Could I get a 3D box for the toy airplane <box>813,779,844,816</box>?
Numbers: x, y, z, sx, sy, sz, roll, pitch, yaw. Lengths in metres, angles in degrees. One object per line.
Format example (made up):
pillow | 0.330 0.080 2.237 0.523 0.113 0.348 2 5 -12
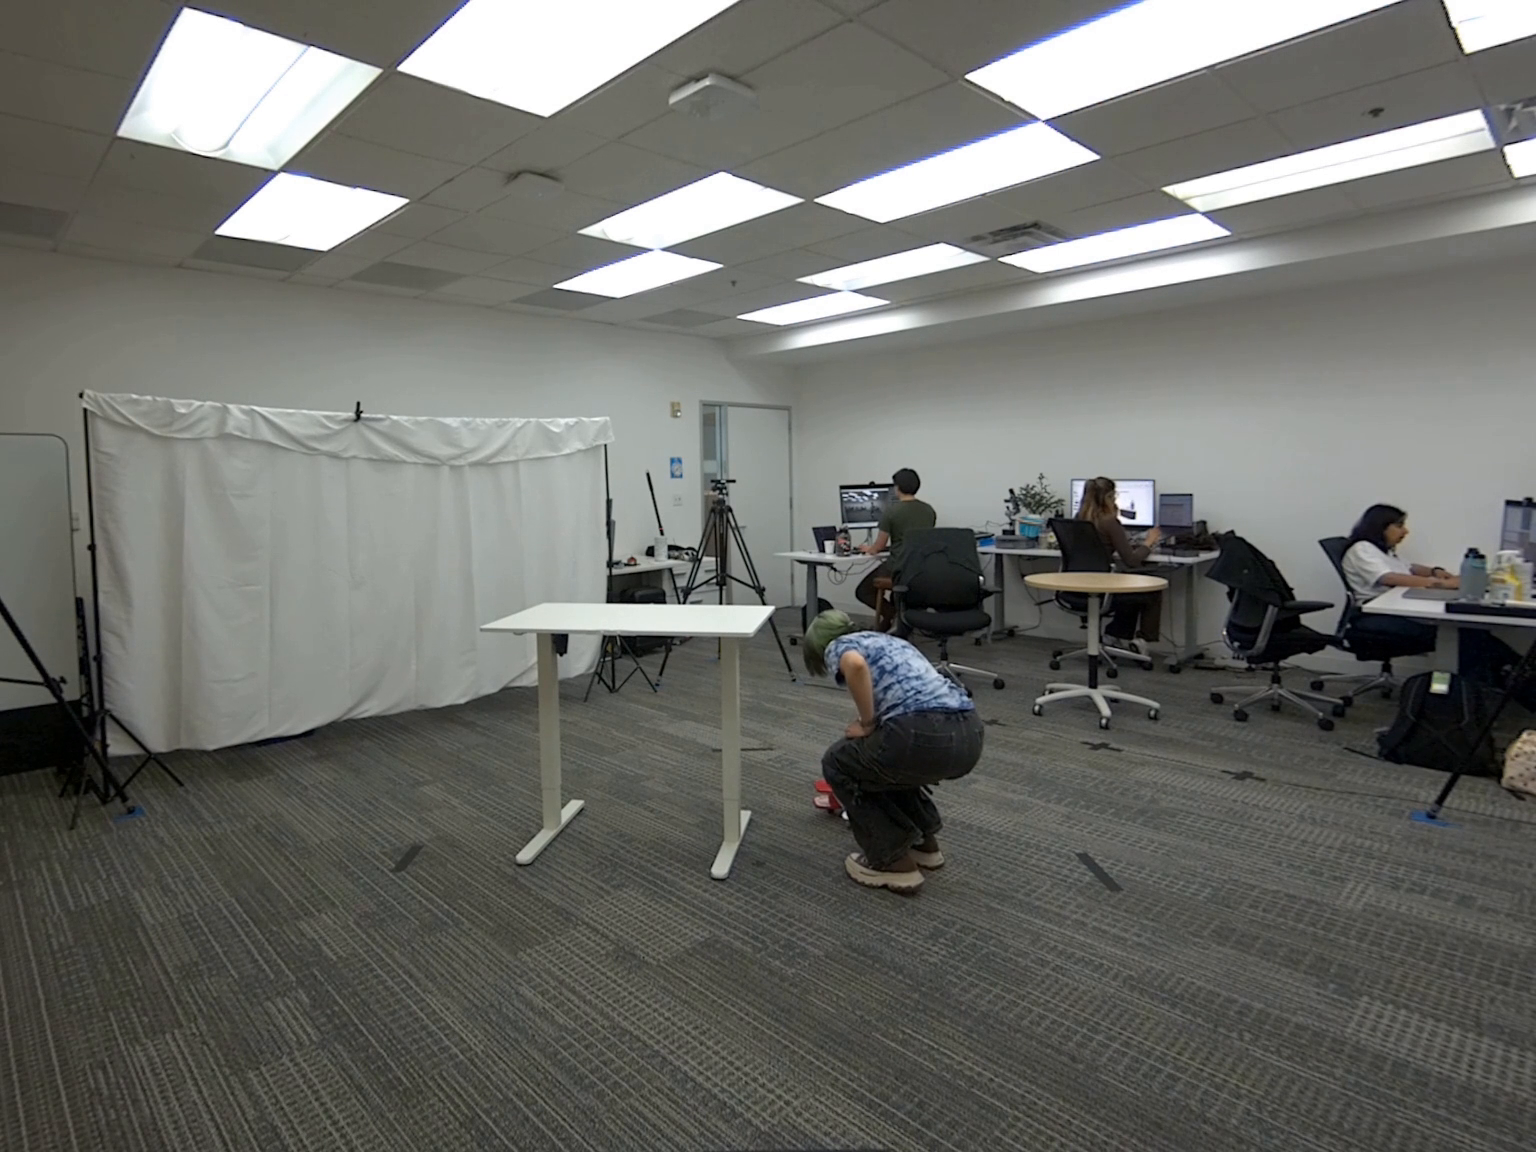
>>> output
toy airplane | 0.351 0.927 3.508 0.244 0.156 0.267 -6 6 -41
